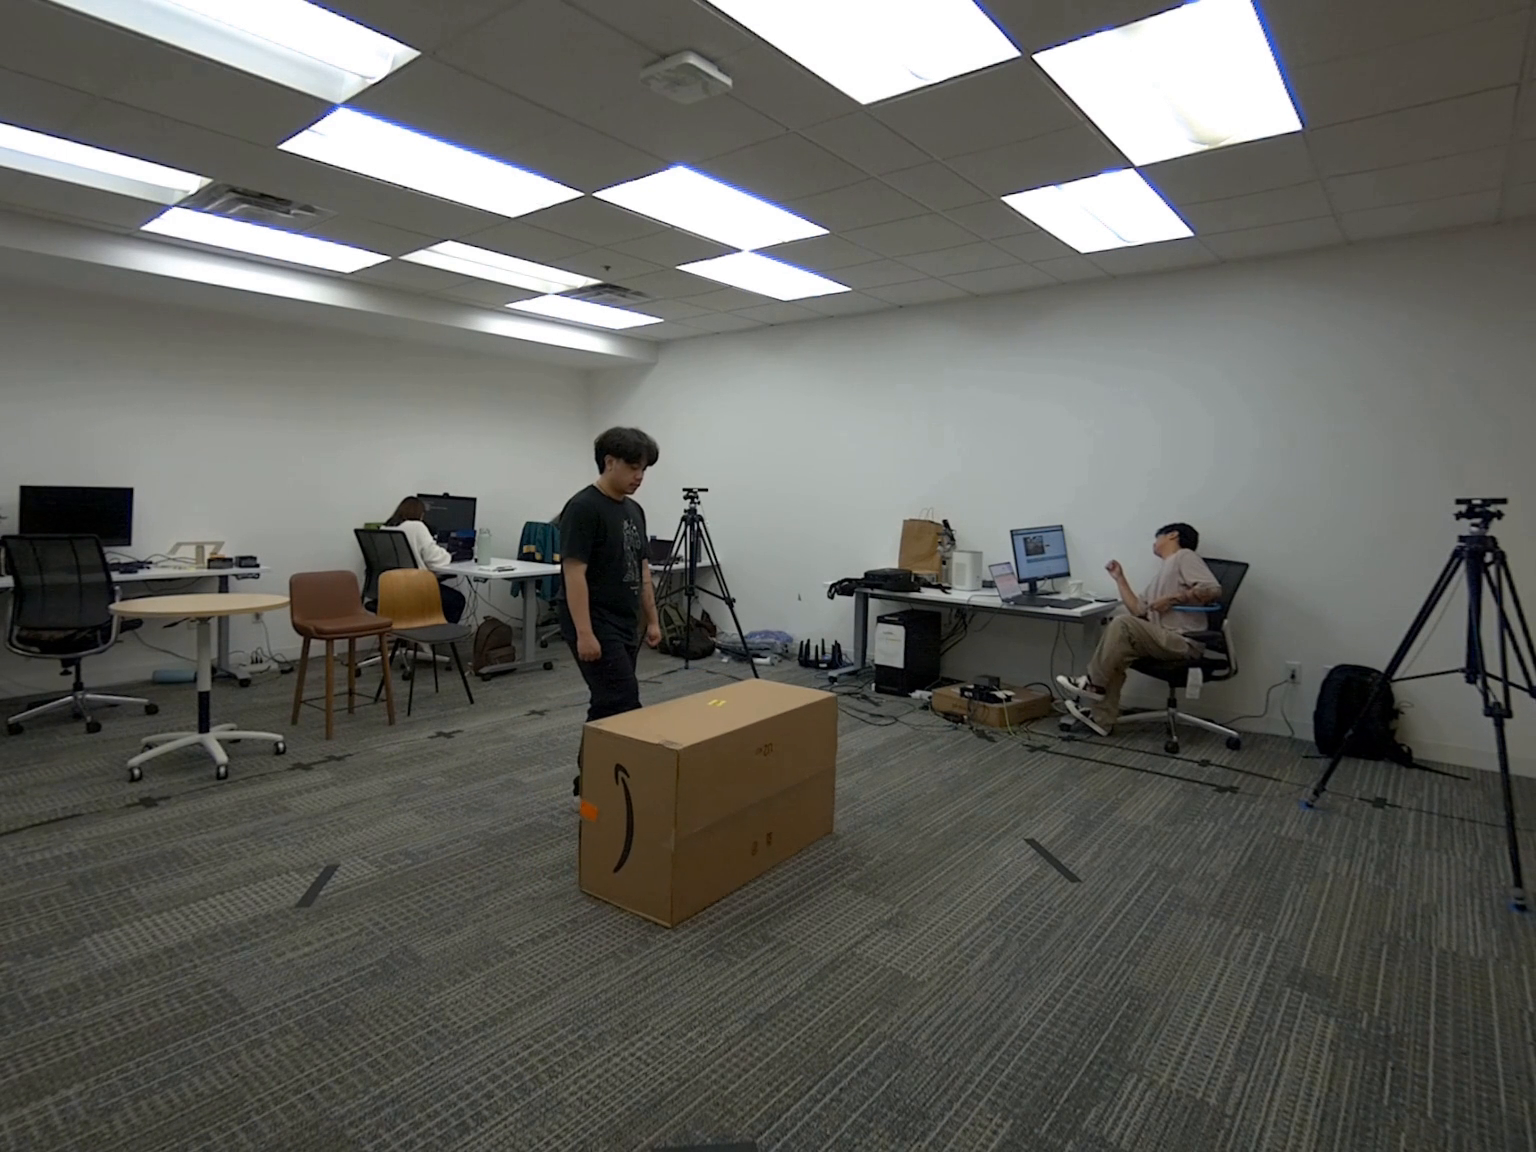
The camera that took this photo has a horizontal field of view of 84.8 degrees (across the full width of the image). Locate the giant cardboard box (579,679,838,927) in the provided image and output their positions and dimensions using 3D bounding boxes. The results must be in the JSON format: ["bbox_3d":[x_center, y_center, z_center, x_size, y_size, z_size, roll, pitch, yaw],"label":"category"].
[{"bbox_3d":[-0.191,0.777,3.186,0.461,0.582,0.998,3,4,35],"label":"giant cardboard box"}]
